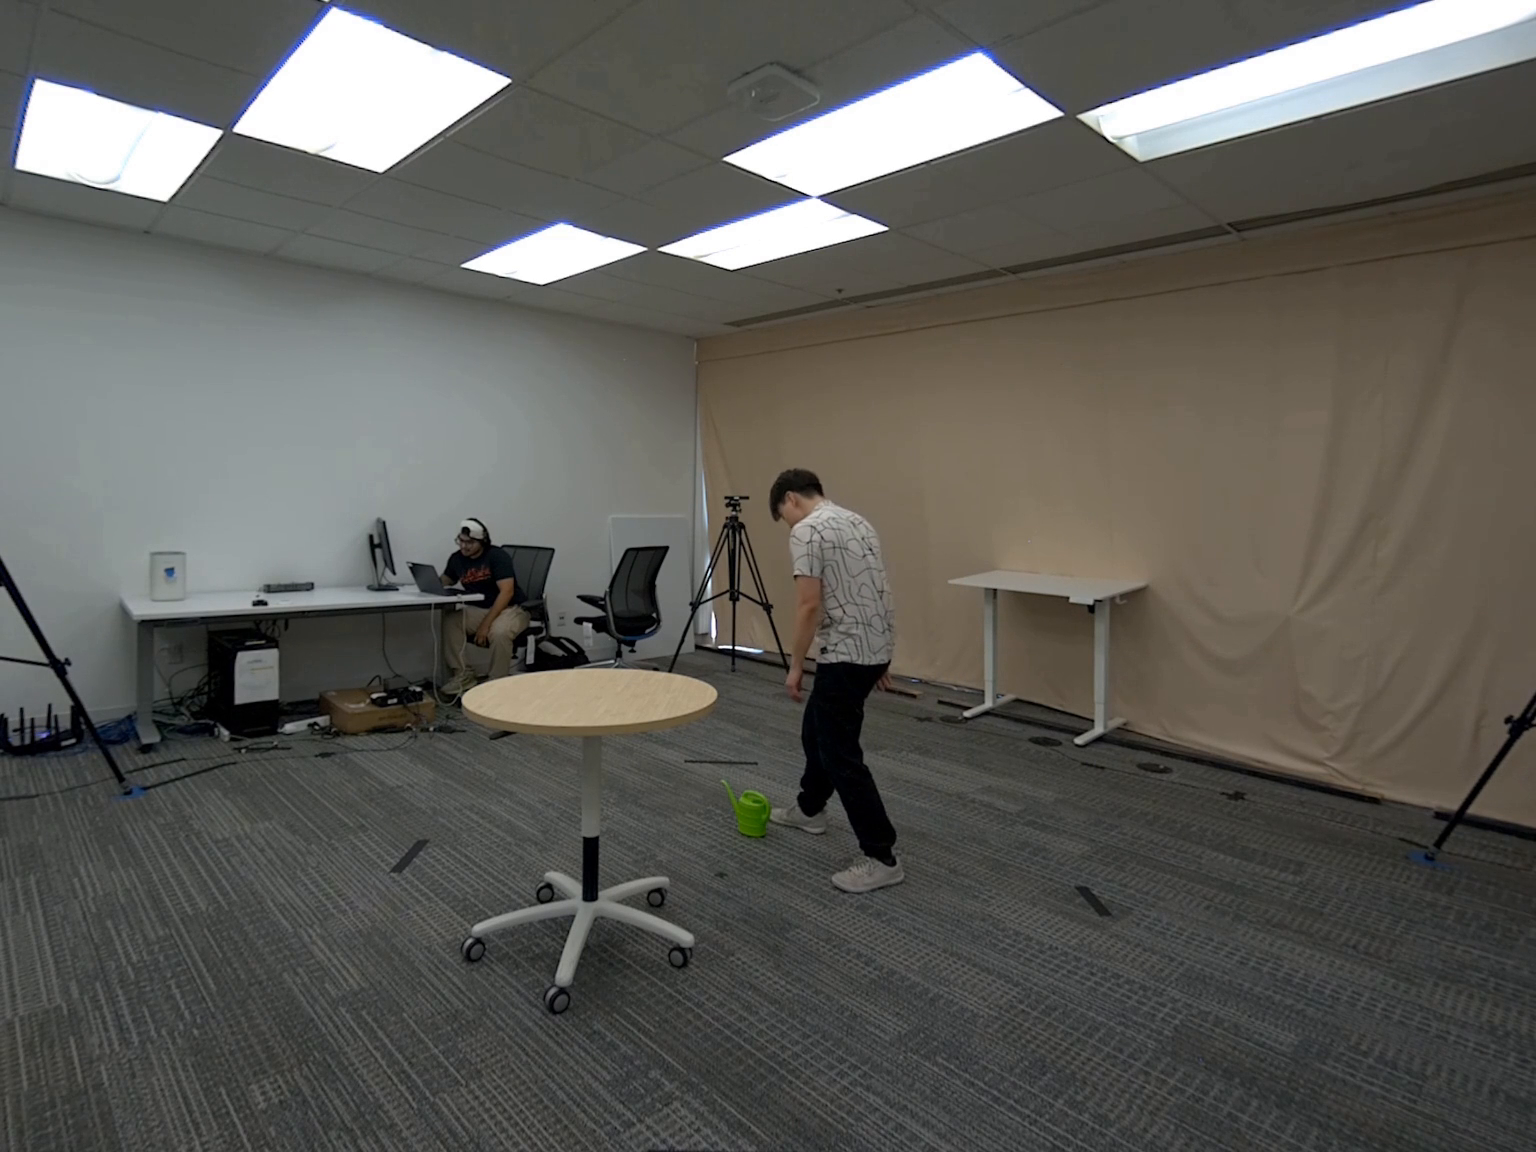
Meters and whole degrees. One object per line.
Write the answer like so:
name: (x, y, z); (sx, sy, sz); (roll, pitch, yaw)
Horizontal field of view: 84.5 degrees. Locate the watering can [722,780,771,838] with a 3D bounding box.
watering can: (-0.093, 0.973, 3.545); (0.096, 0.176, 0.285); (3, 4, -34)
